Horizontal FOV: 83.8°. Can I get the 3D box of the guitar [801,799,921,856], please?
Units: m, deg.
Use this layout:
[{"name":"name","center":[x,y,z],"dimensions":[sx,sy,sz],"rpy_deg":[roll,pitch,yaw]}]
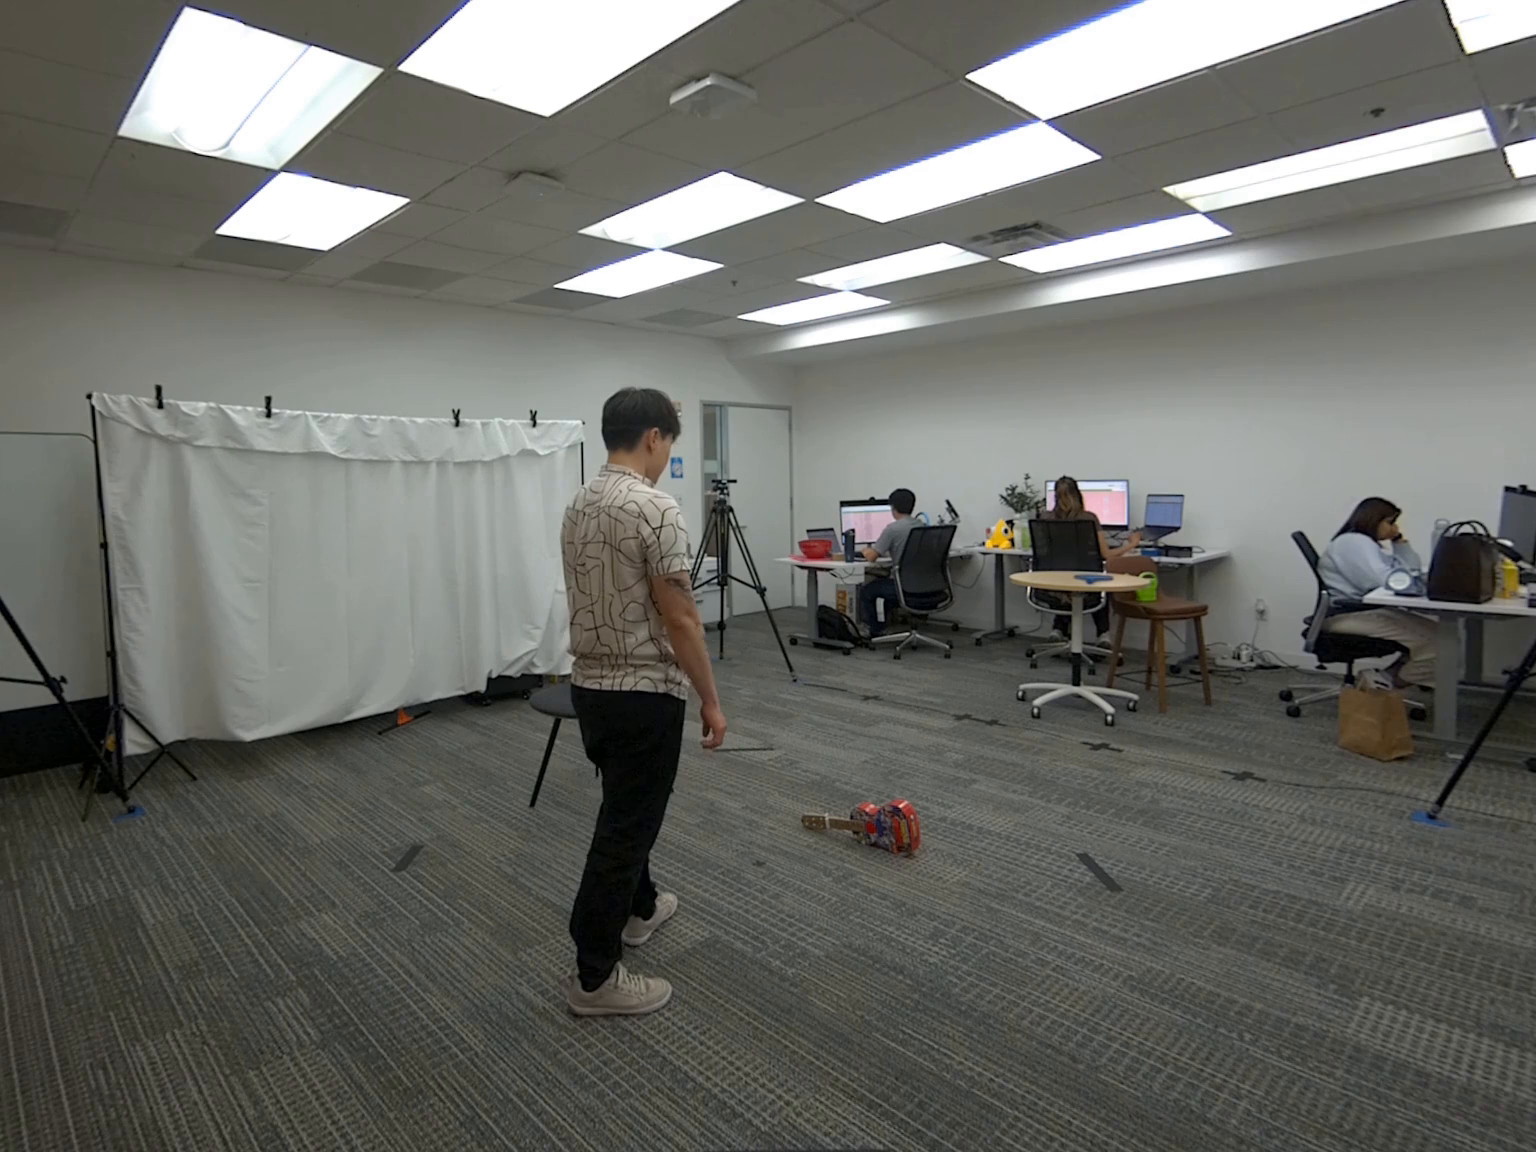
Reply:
[{"name":"guitar","center":[0.346,0.929,3.286],"dimensions":[0.513,0.192,0.069],"rpy_deg":[3,10,40]}]
